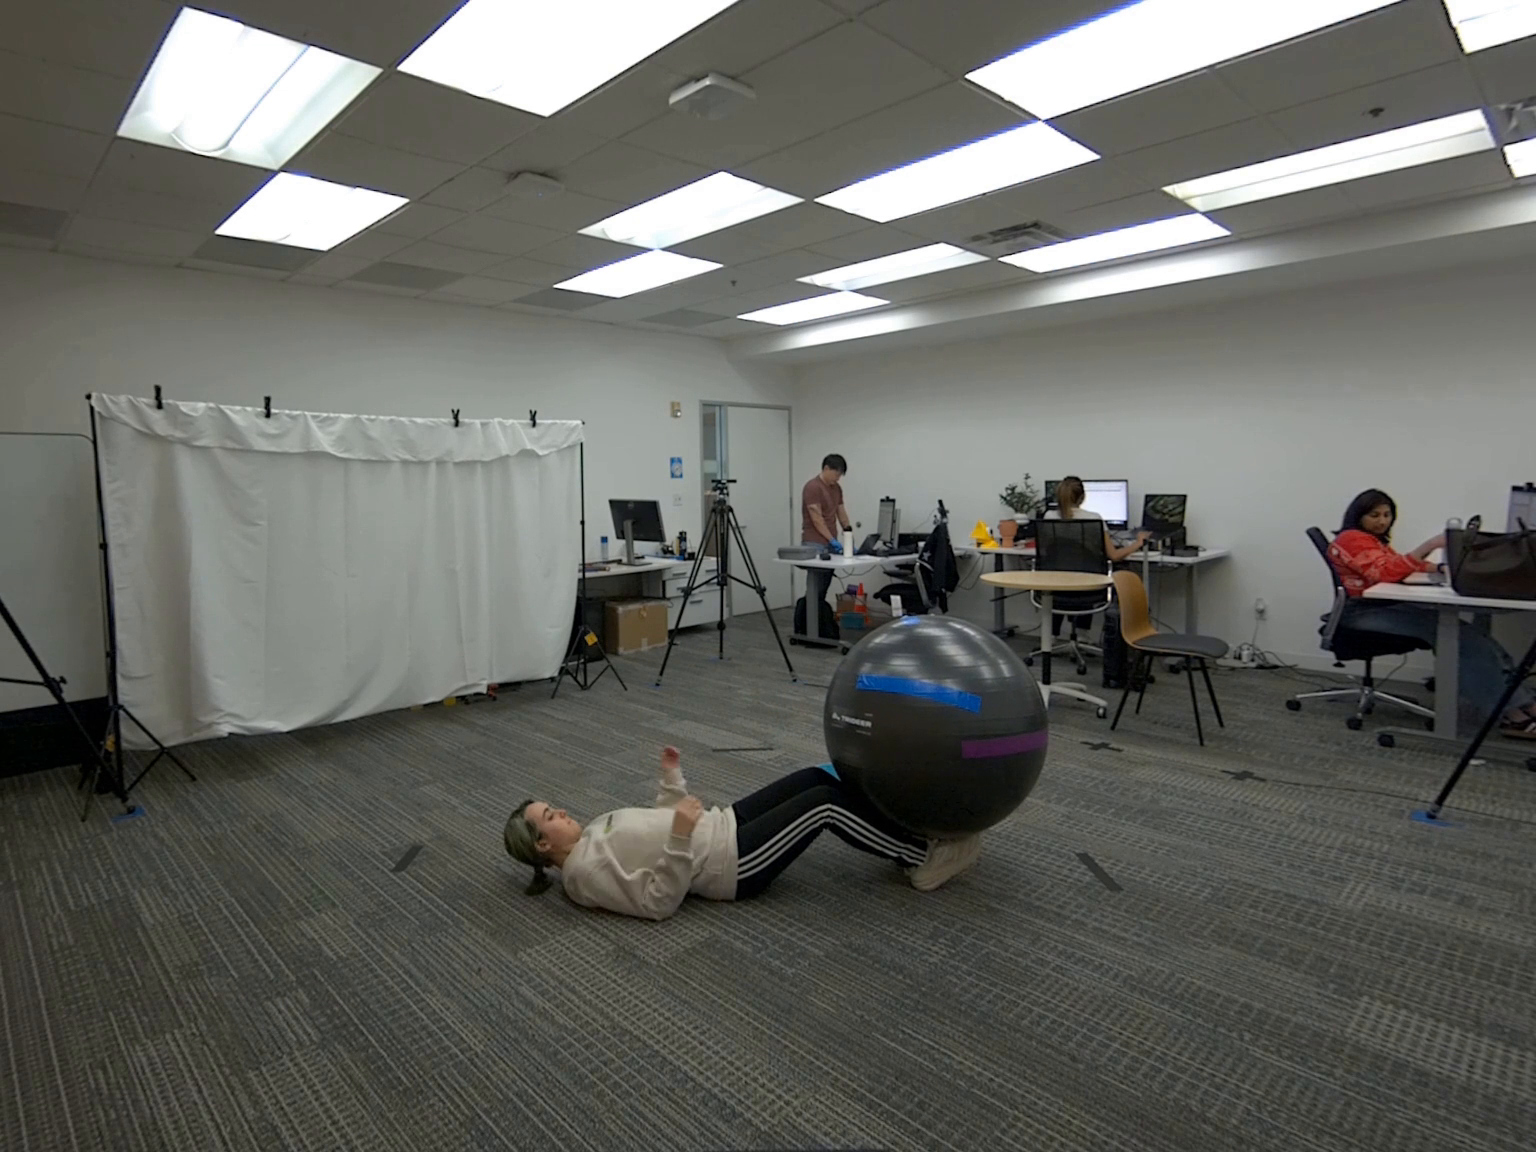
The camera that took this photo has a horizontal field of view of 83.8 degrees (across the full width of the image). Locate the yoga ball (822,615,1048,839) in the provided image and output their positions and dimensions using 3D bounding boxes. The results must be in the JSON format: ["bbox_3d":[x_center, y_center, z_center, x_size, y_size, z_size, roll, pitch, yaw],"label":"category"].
[{"bbox_3d":[0.581,0.519,2.994,0.757,0.755,0.762,-1,5,-2],"label":"yoga ball"}]
